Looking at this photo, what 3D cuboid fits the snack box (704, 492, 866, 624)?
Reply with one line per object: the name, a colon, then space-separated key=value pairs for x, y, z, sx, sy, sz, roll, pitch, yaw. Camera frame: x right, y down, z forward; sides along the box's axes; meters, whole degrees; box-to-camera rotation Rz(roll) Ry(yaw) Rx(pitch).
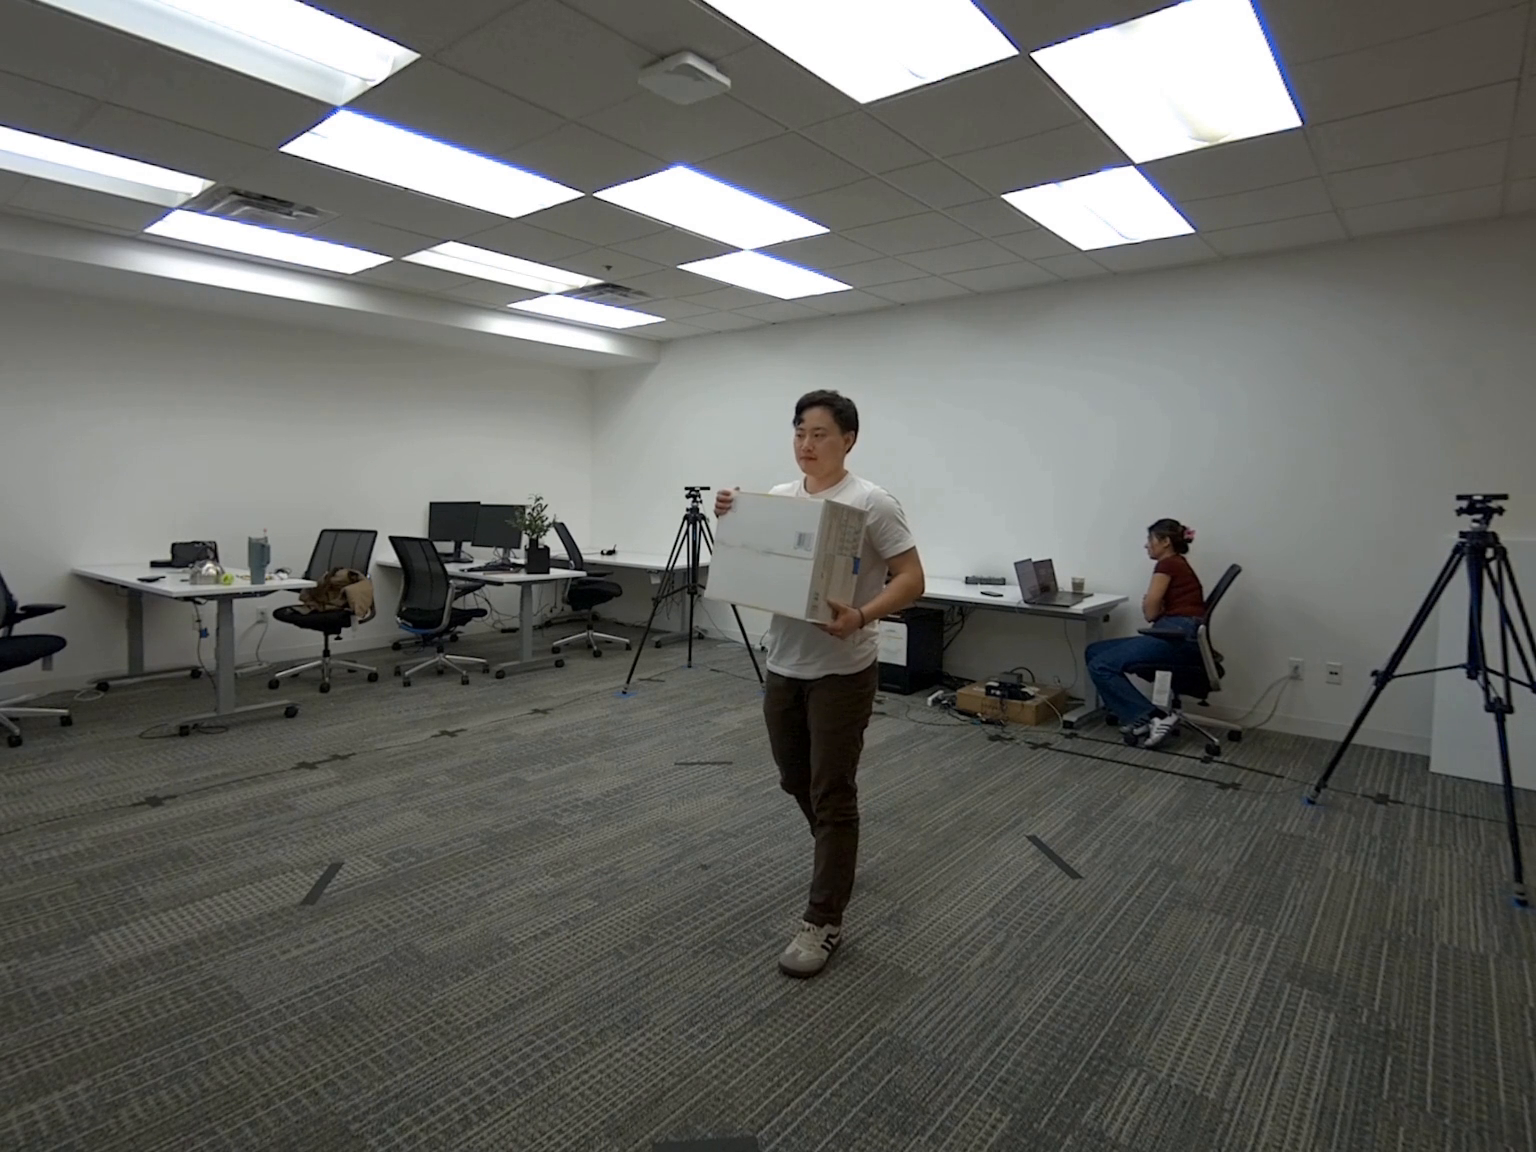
snack box: x=0.038 y=-0.058 z=2.514 sx=0.420 sy=0.341 sz=0.198 roll=9 pitch=-2 yaw=43
